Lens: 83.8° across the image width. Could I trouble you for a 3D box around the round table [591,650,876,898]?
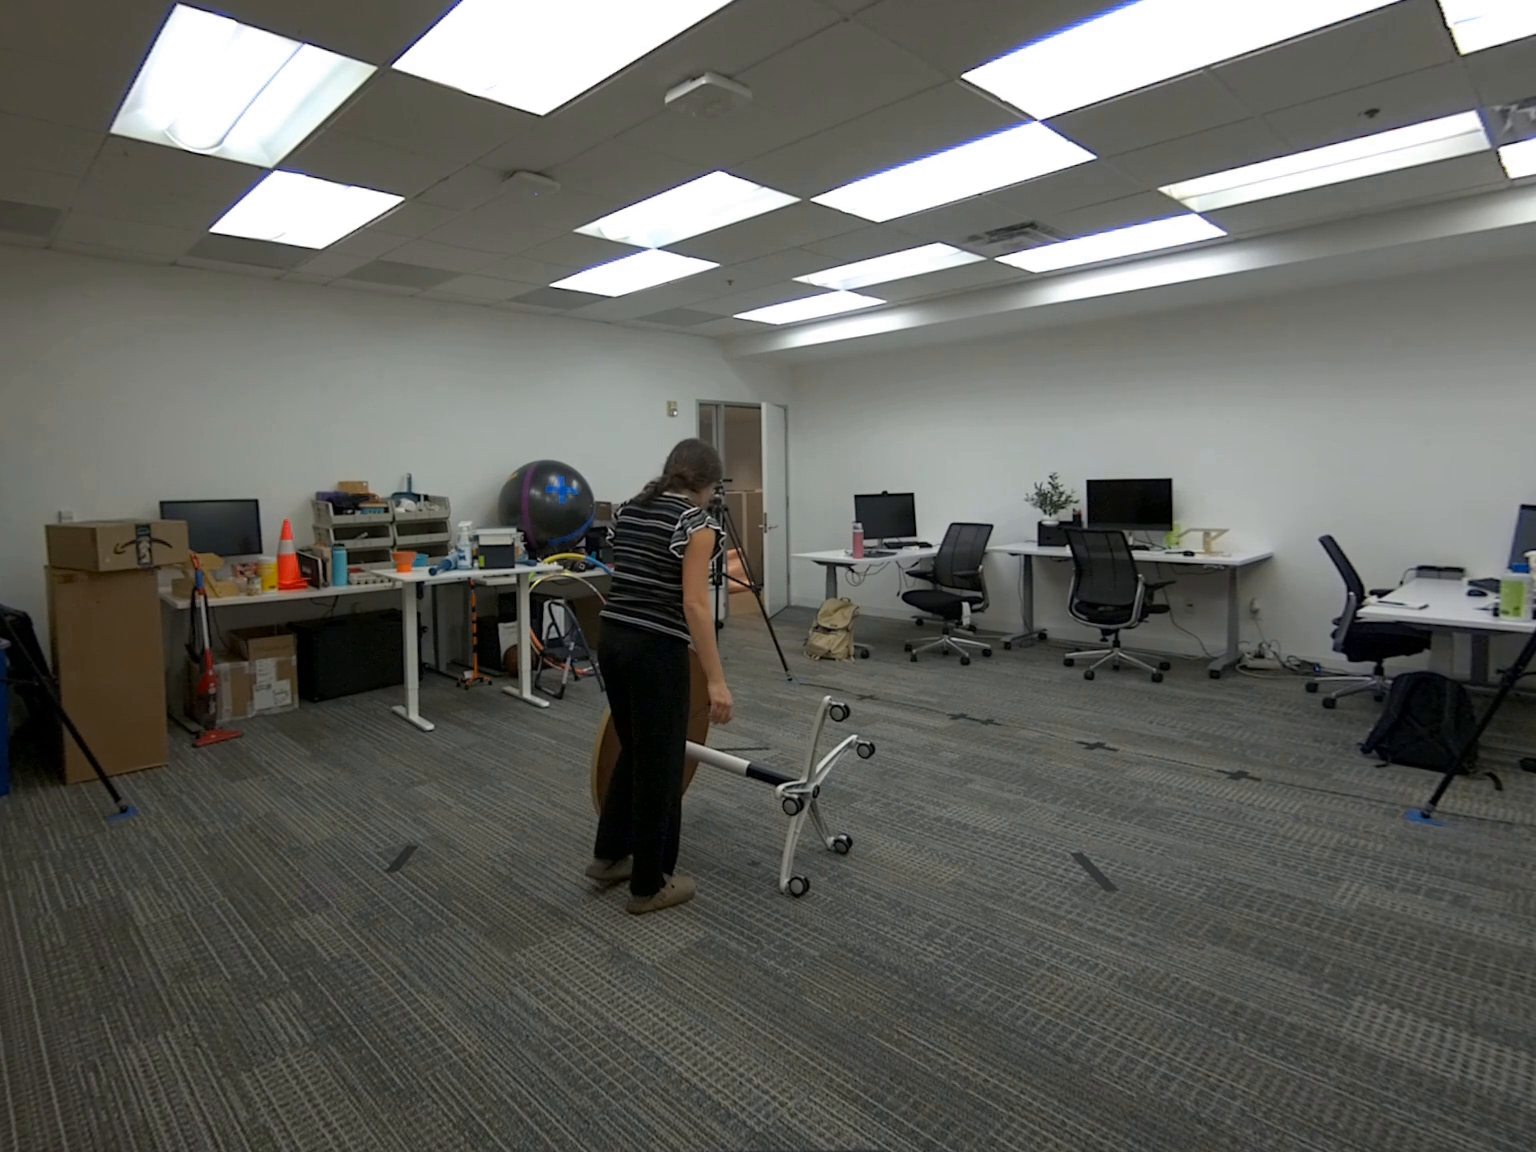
[{"bbox_3d":[-0.104,0.711,3.178,0.817,0.759,0.747,11,10,29],"label":"round table"}]
